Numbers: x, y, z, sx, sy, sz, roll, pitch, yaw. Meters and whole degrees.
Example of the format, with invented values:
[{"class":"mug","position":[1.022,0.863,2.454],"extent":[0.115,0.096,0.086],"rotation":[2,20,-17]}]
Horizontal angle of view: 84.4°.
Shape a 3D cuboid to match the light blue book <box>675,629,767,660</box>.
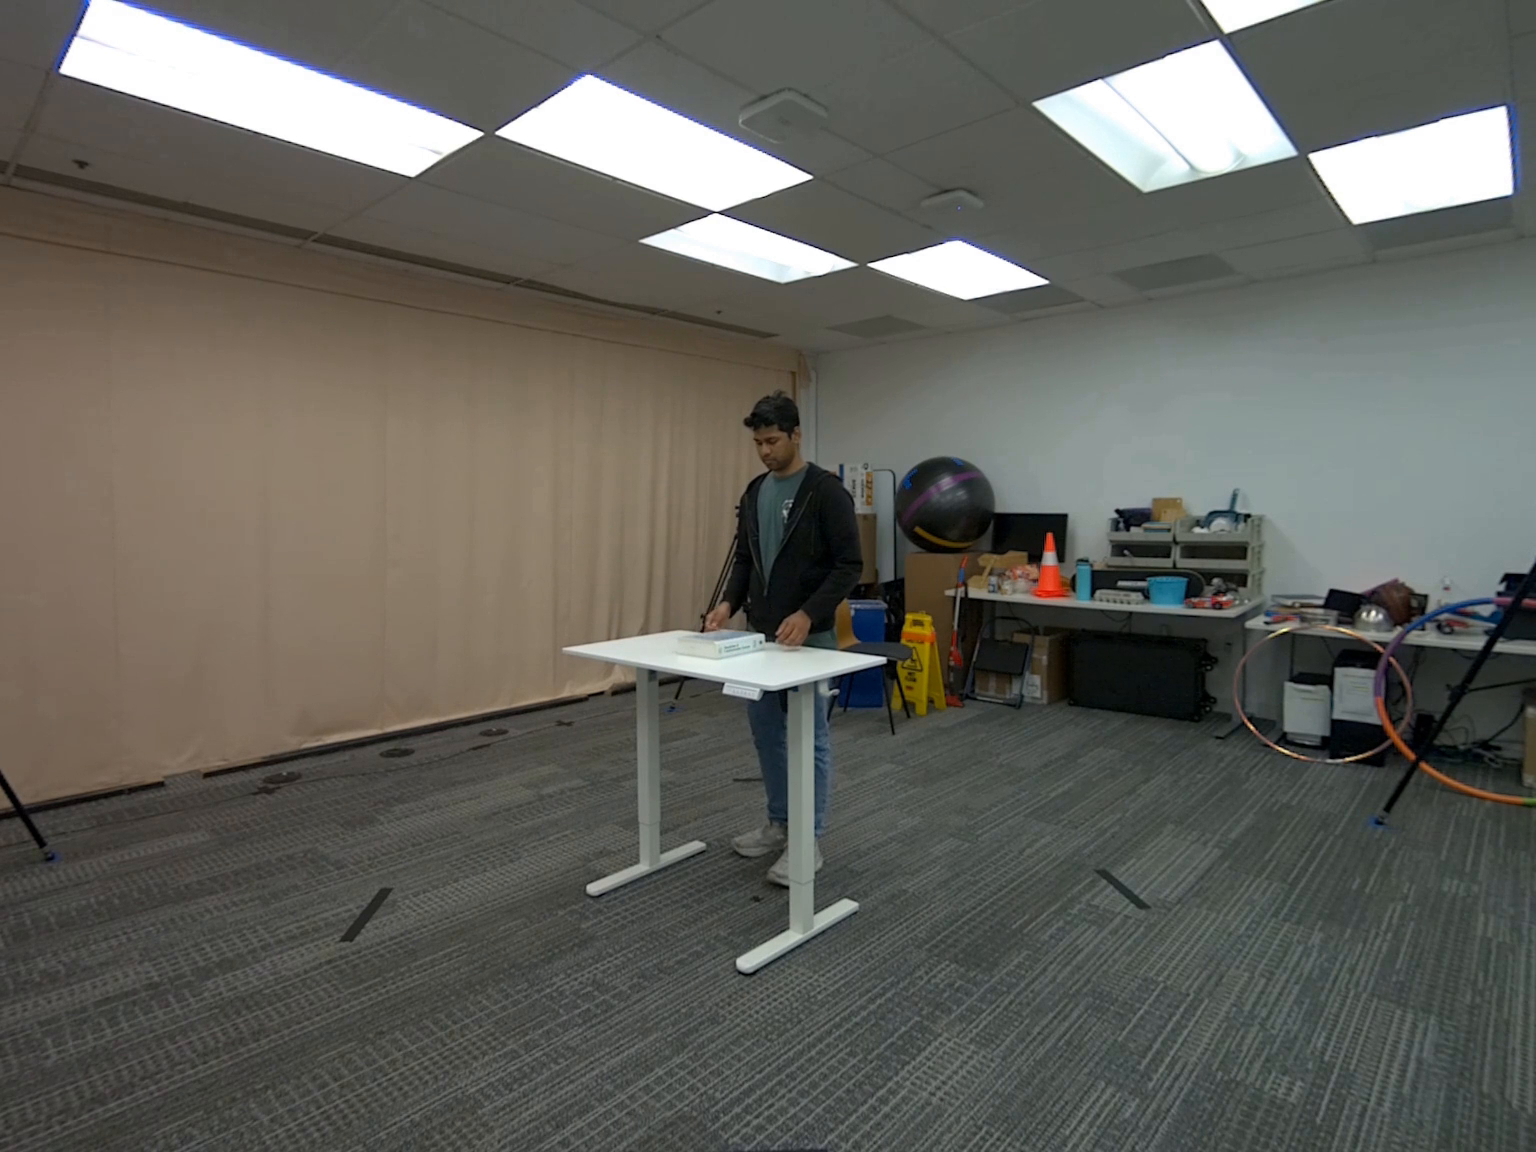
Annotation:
[{"class":"light blue book","position":[-0.167,0.239,2.952],"extent":[0.198,0.059,0.253],"rotation":[4,6,39]}]
